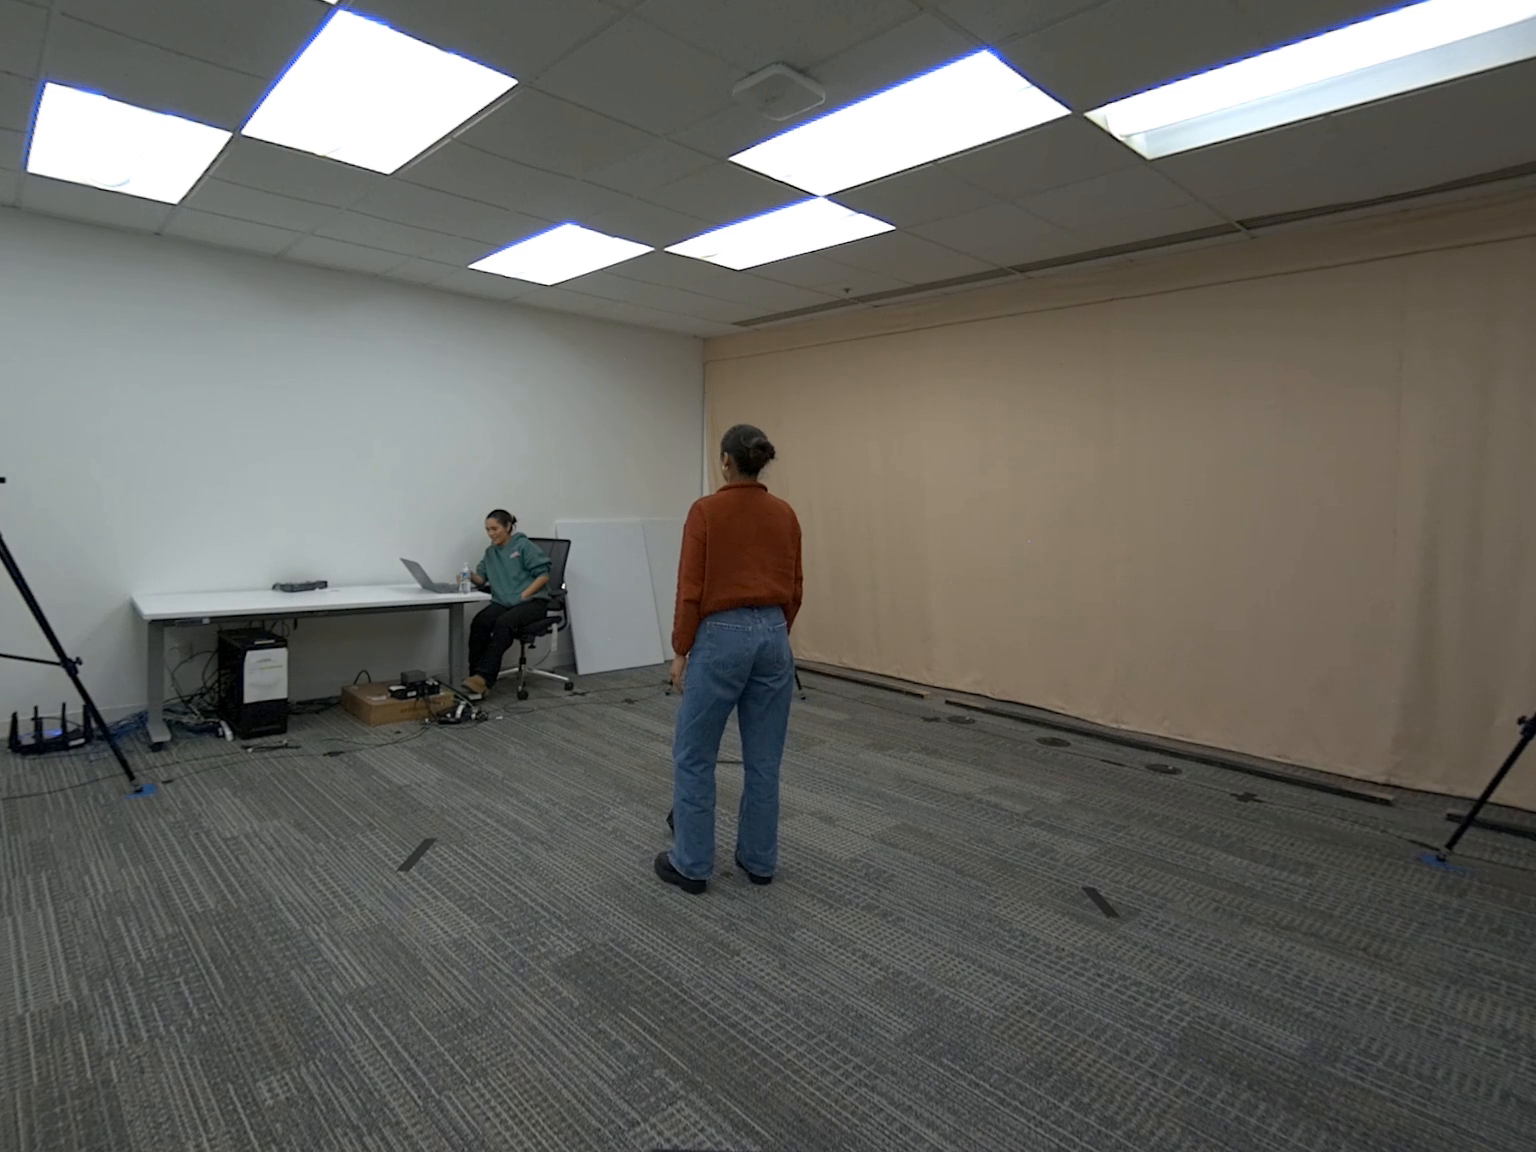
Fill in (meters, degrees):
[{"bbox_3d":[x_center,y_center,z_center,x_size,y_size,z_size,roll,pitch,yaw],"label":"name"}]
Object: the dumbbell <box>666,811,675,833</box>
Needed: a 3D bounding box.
[{"bbox_3d":[-0.324,1.027,3.367,0.106,0.123,0.299,32,-5,-20],"label":"dumbbell"}]
